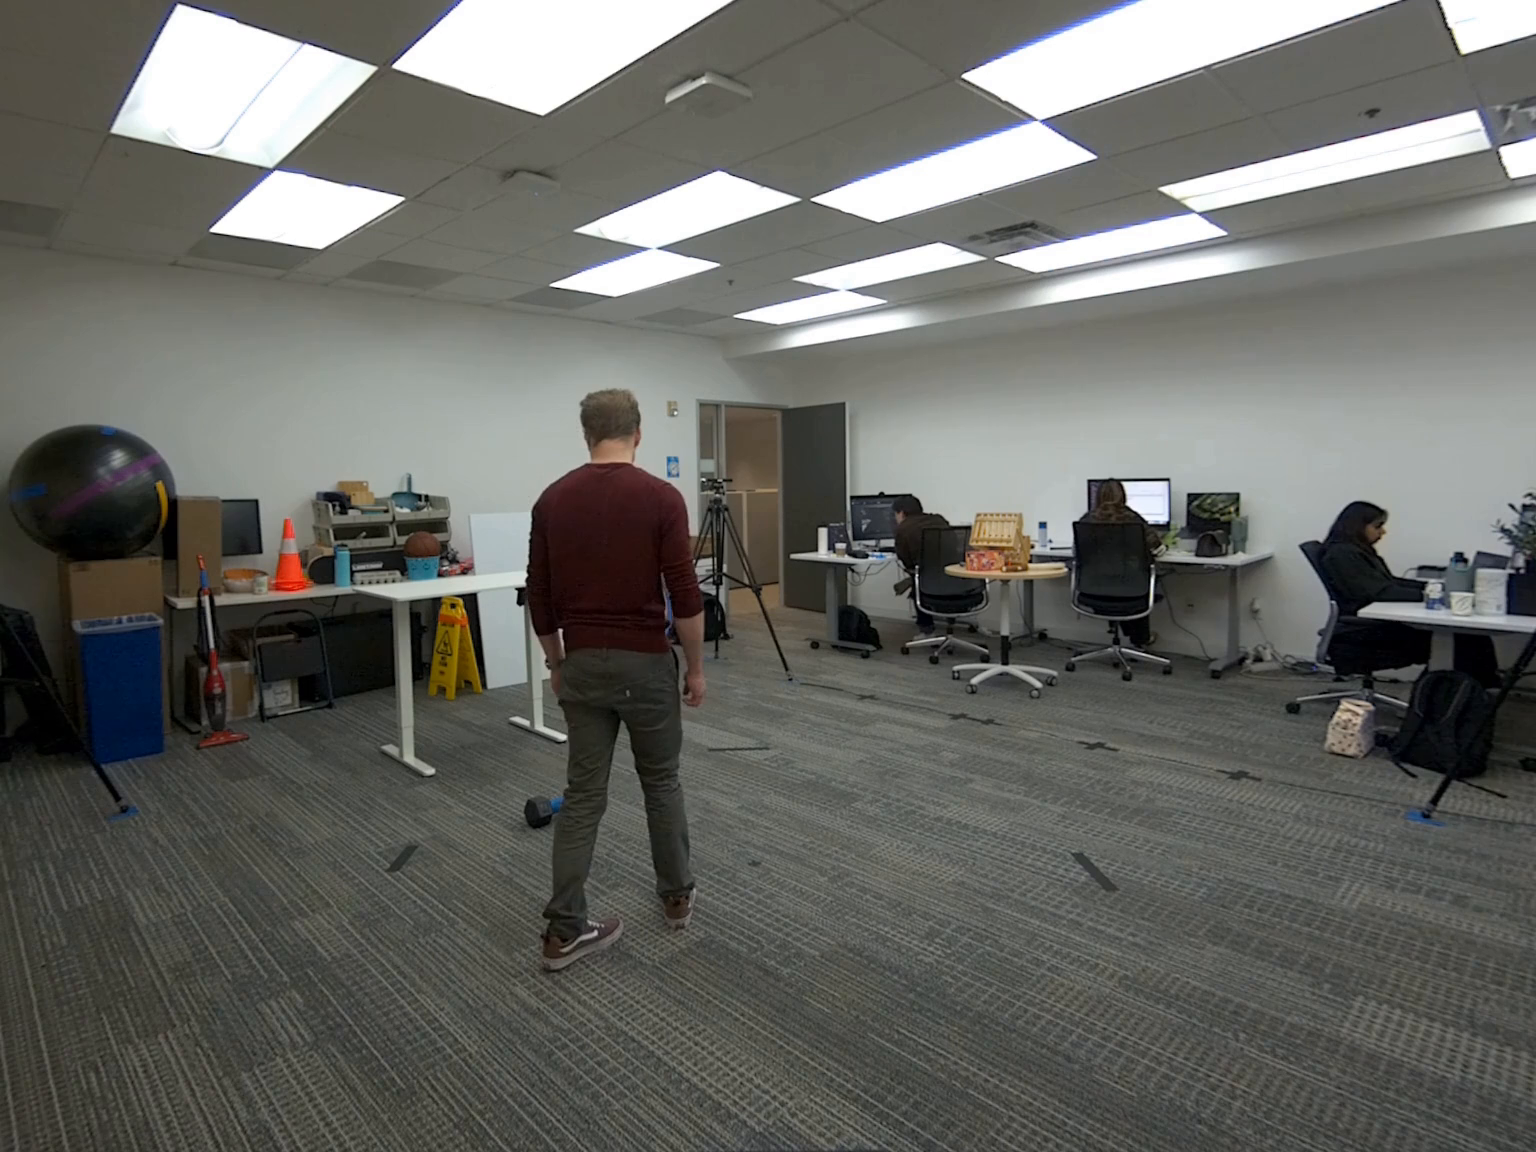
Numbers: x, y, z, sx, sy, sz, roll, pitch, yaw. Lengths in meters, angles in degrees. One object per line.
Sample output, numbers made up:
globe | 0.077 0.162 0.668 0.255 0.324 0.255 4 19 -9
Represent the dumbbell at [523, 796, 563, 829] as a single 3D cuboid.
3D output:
dumbbell | -0.871 0.955 3.577 0.286 0.126 0.109 -6 -25 -48
